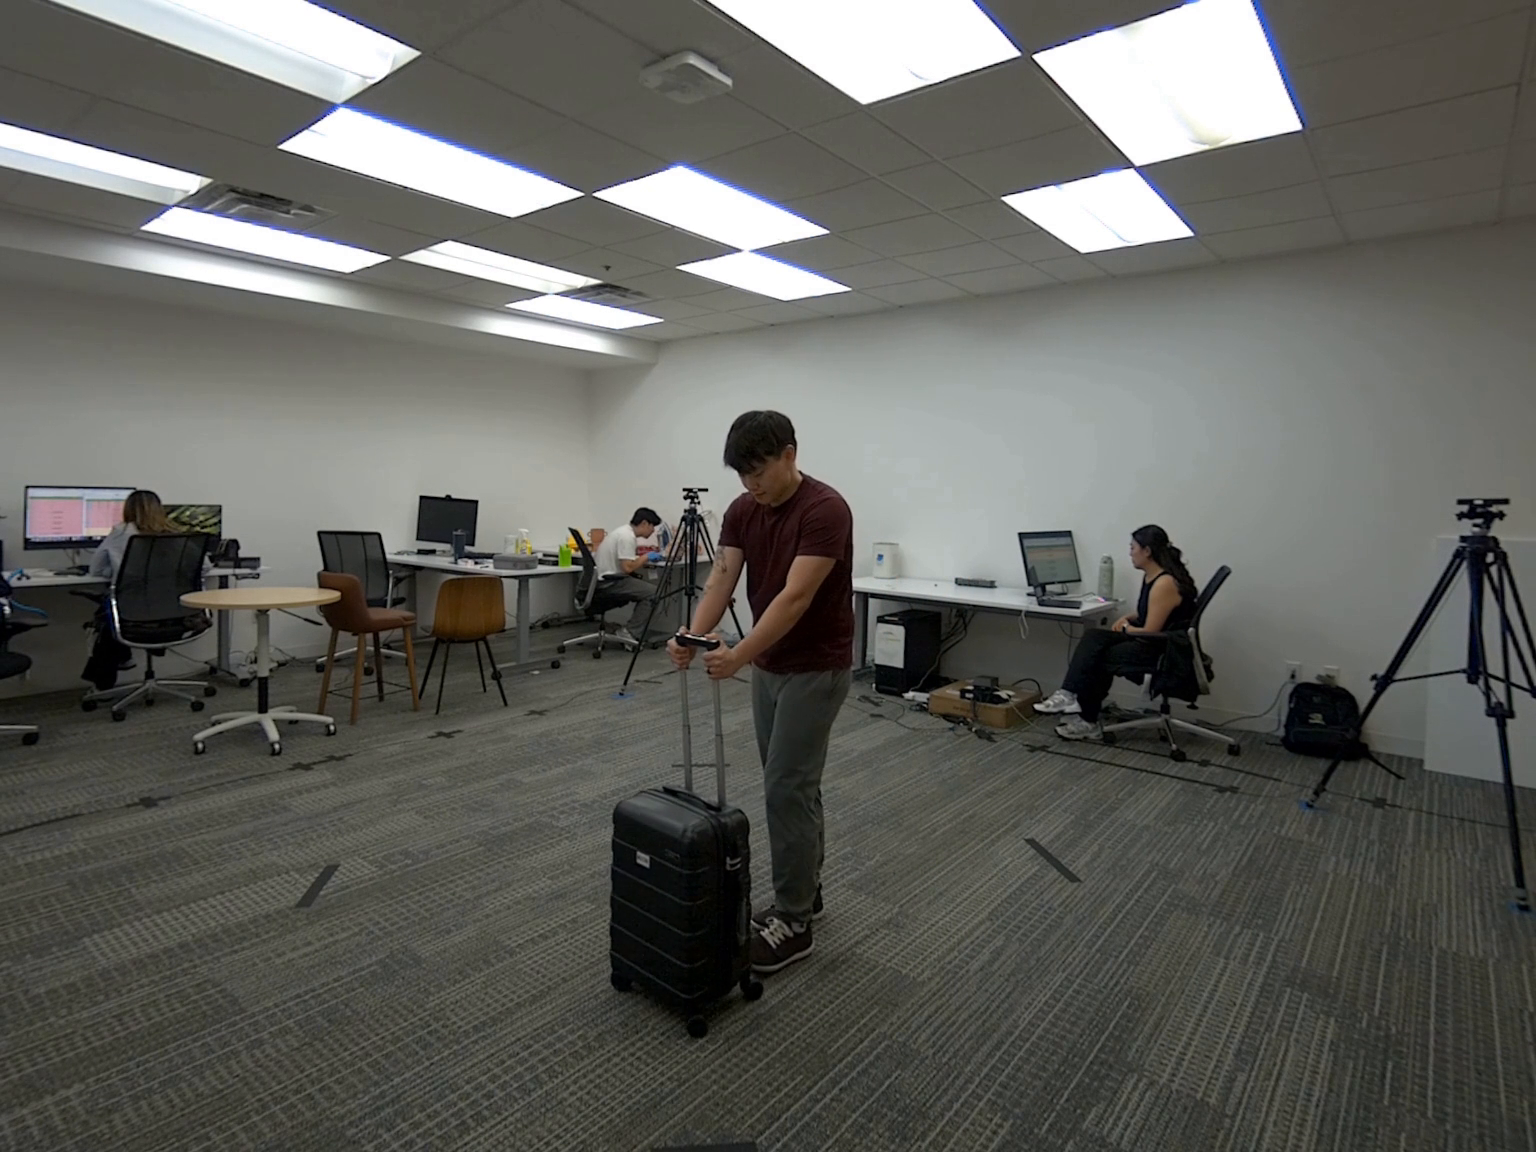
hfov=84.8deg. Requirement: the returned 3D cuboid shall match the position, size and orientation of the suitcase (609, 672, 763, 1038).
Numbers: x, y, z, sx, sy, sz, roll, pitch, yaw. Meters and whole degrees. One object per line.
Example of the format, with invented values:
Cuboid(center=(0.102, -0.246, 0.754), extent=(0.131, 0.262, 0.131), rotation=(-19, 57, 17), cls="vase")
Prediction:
Cuboid(center=(-0.255, 0.674, 2.310), extent=(0.397, 0.975, 0.250), rotation=(2, 5, 44), cls="suitcase")
